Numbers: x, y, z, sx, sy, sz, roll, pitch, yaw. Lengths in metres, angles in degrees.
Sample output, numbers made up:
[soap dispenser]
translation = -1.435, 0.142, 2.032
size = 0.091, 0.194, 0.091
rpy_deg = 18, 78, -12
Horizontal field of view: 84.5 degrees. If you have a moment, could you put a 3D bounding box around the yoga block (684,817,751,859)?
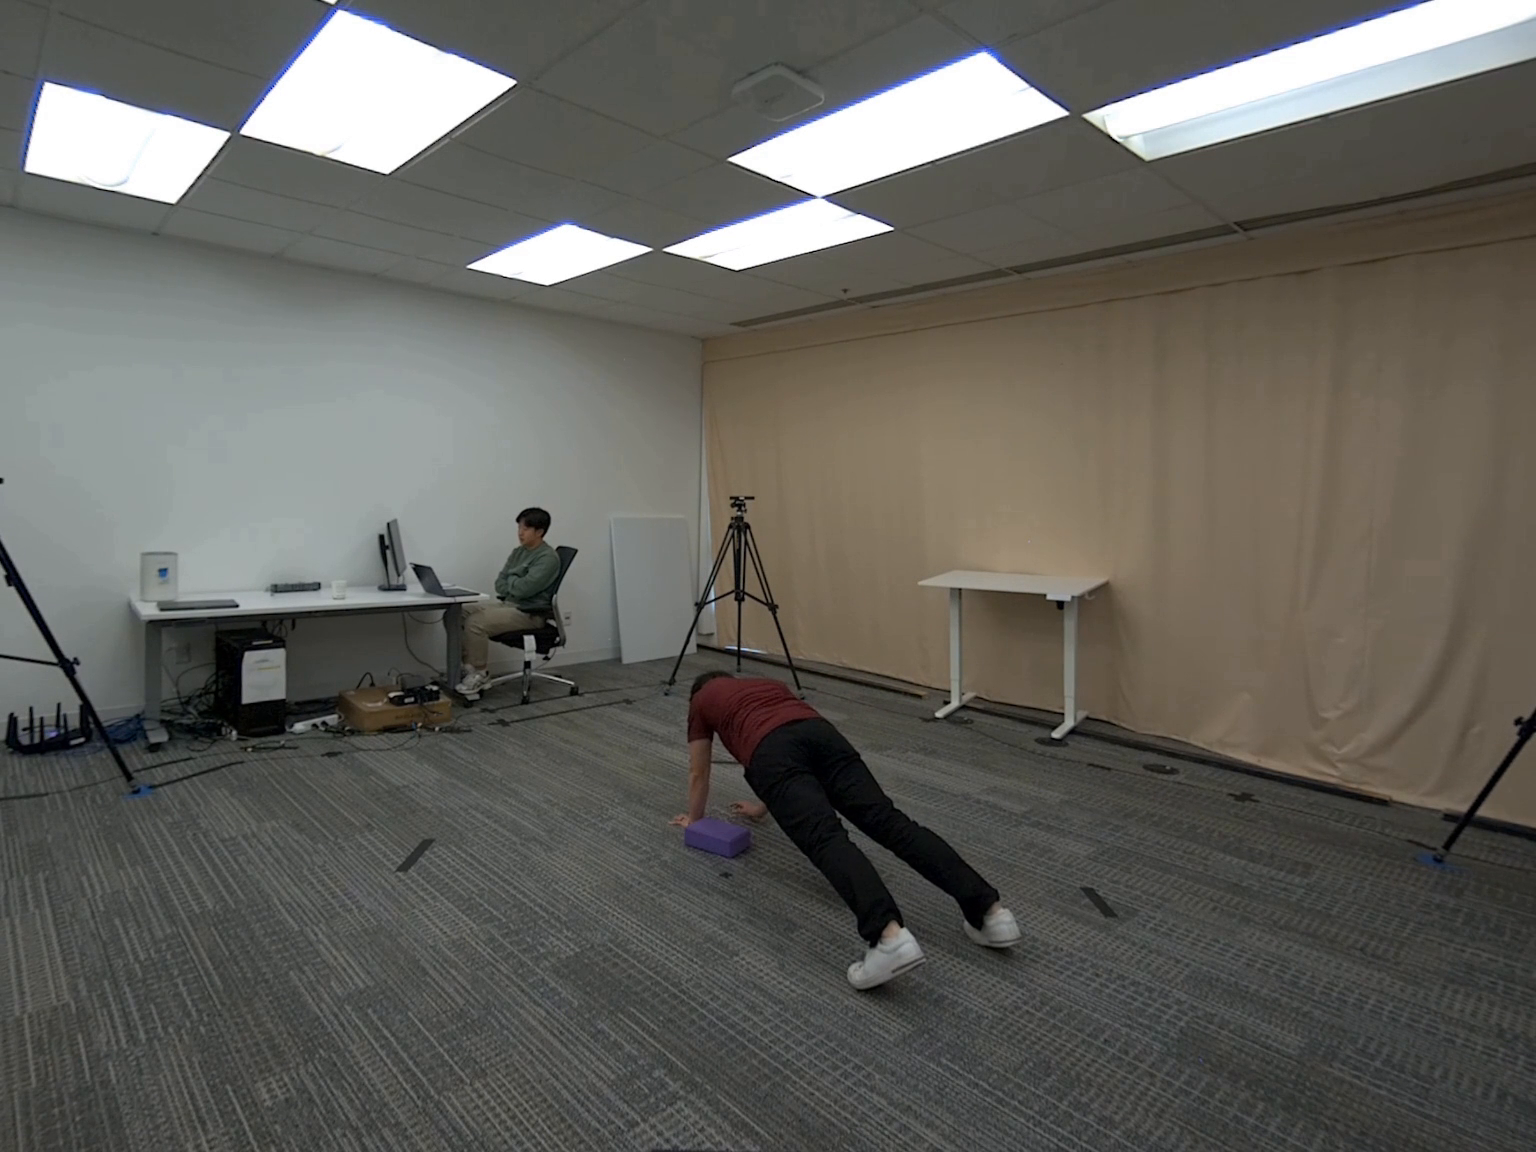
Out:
[yoga block]
translation = -0.208, 1.038, 3.355
size = 0.234, 0.076, 0.146
rpy_deg = 4, 5, 33
